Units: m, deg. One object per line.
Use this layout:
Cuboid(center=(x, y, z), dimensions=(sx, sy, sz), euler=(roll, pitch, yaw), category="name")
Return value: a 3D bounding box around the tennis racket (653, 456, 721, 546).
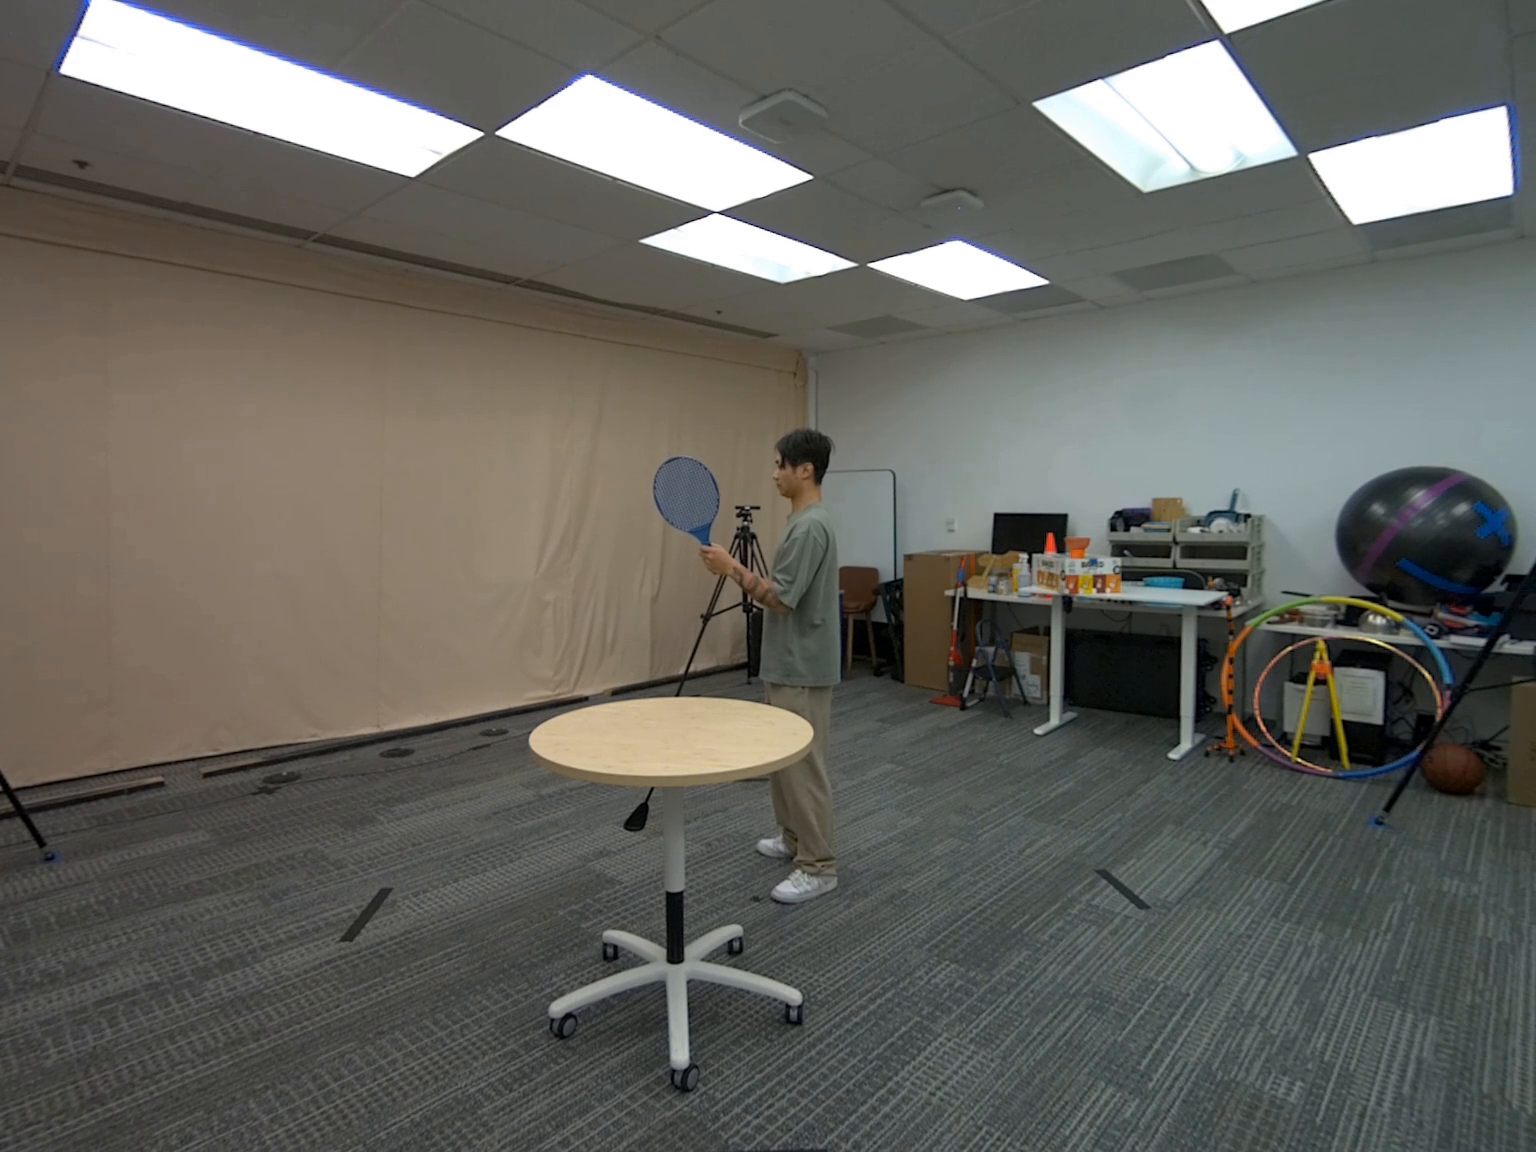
Cuboid(center=(-0.230, -0.203, 2.813), dimensions=(0.214, 0.426, 0.032), euler=(-16, 18, 0), category="tennis racket")
